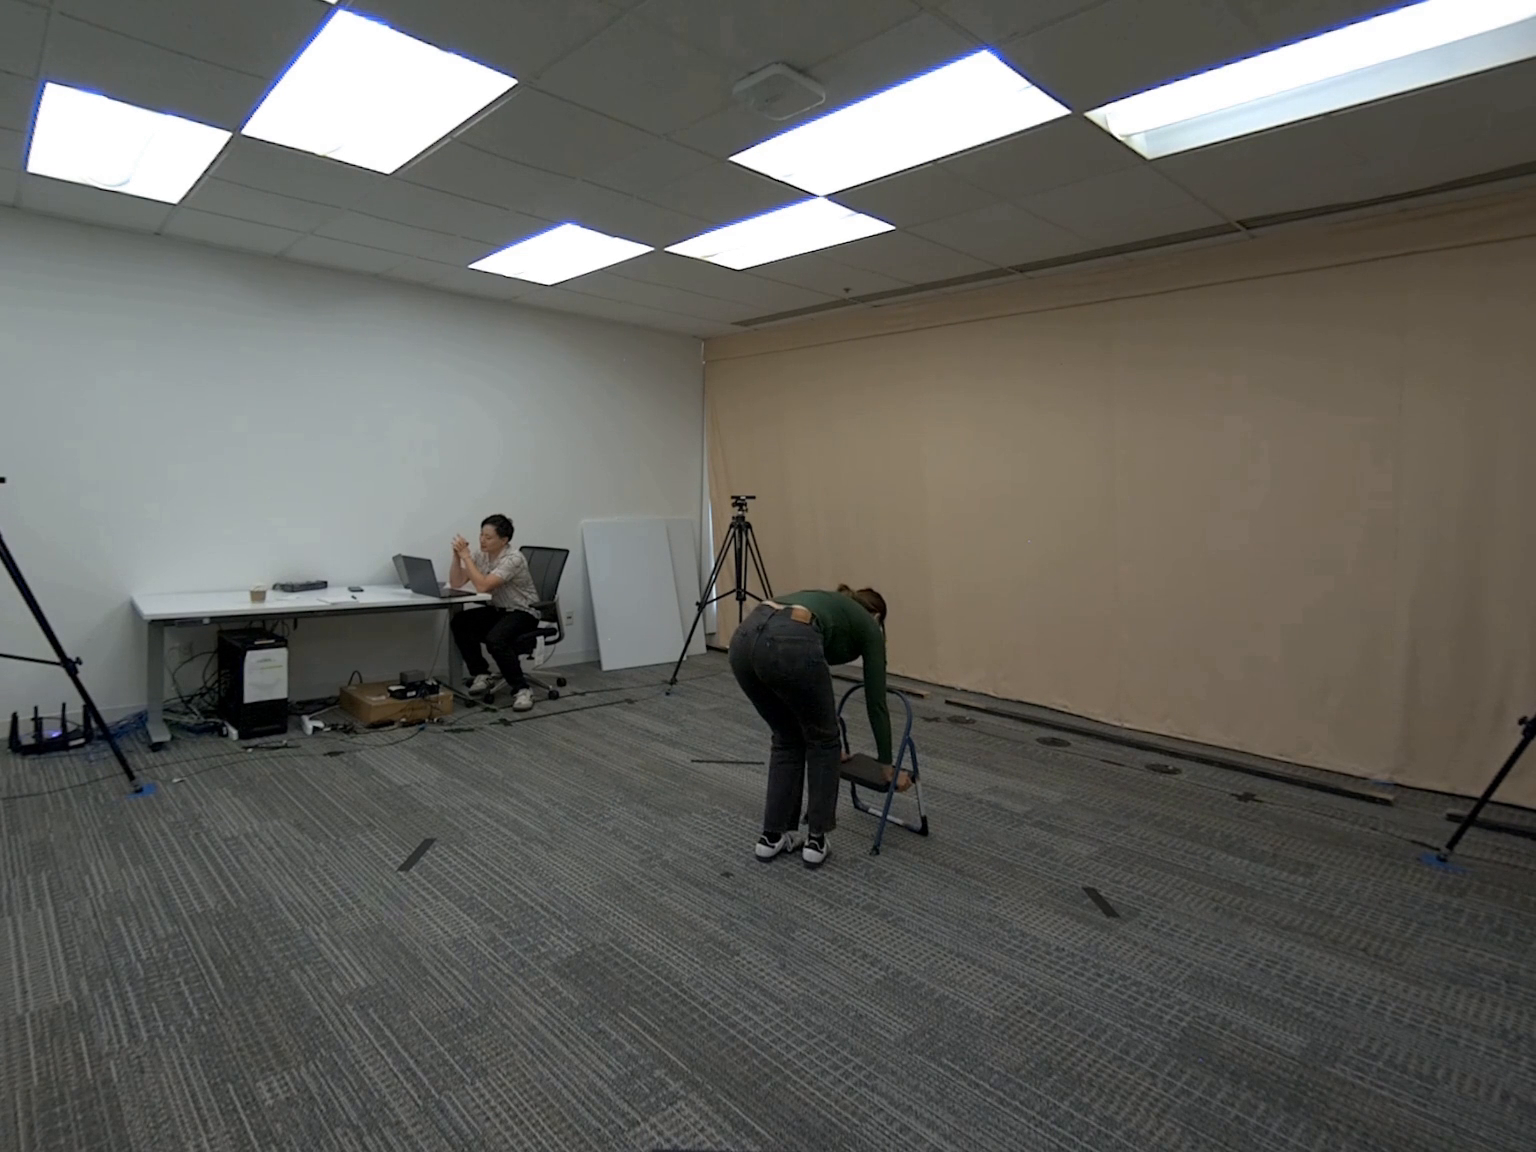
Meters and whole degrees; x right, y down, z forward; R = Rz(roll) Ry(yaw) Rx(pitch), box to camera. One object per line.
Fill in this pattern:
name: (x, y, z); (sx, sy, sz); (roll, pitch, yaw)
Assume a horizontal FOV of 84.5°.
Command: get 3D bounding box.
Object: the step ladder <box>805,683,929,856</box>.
step ladder: (0.410, 0.775, 3.556); (0.341, 0.605, 0.441); (-1, 4, -40)
